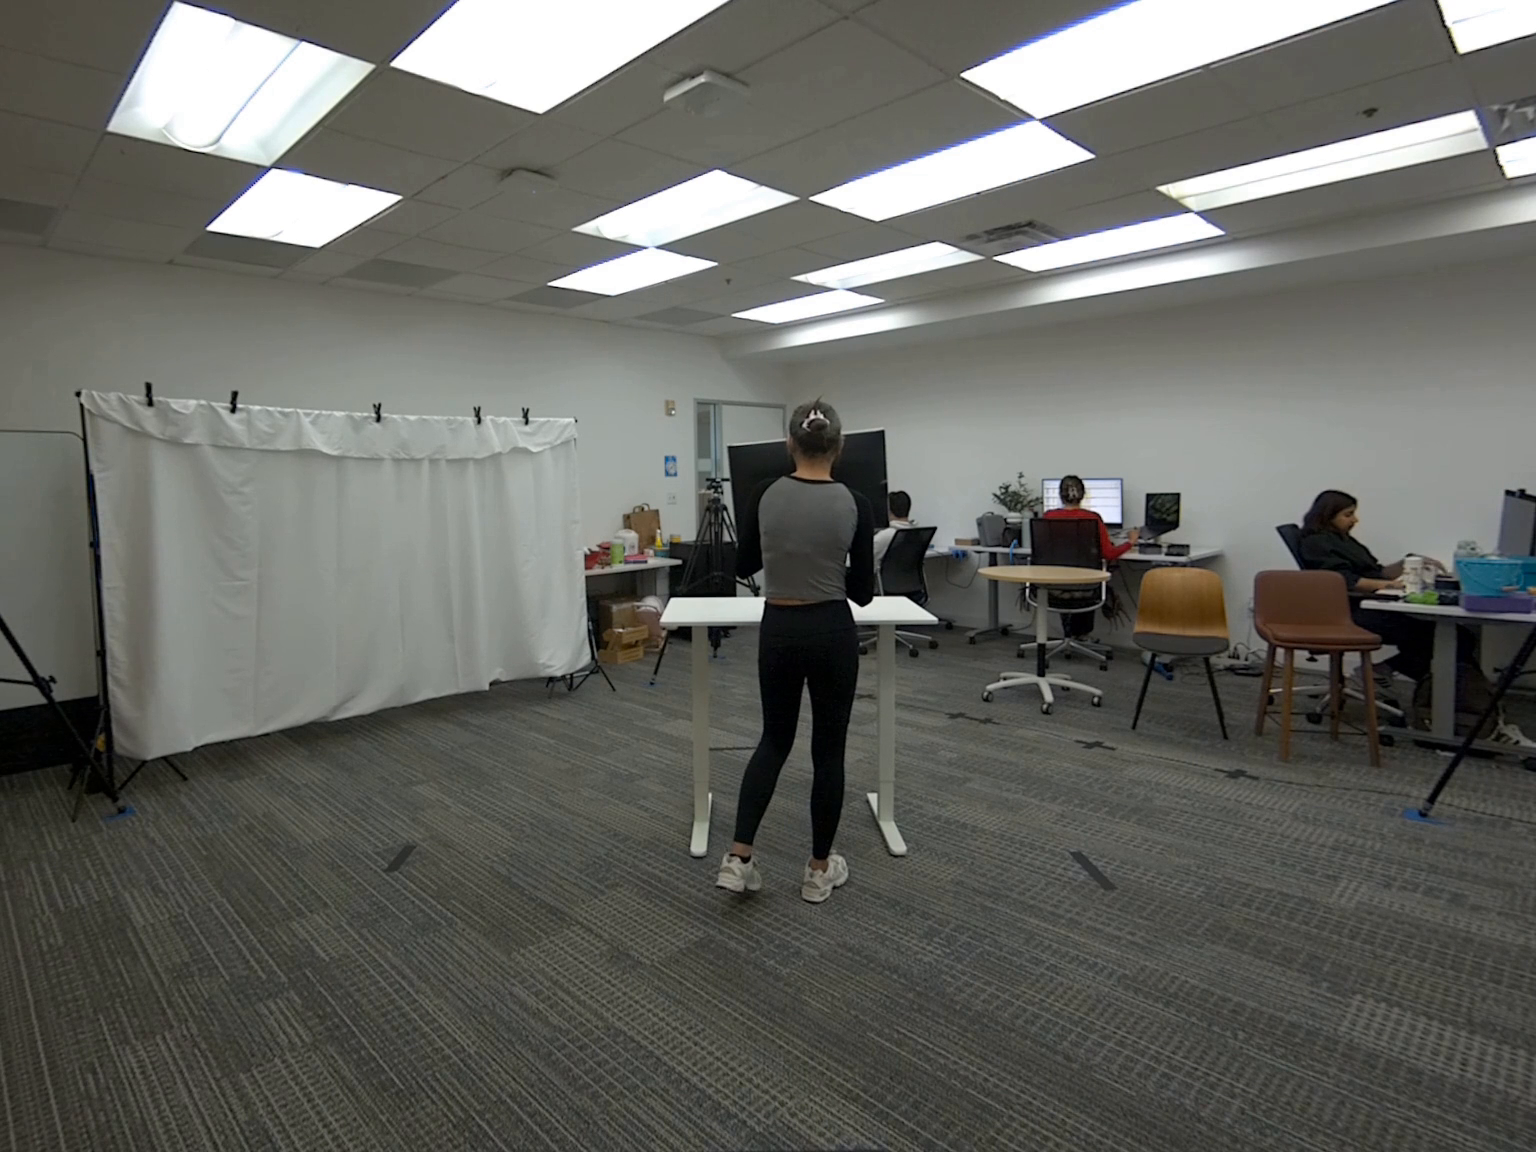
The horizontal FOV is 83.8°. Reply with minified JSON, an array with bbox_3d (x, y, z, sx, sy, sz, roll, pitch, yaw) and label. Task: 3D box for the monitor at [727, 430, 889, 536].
[{"bbox_3d":[0.164,-0.229,3.014,0.539,0.521,0.188,-5,3,-1],"label":"monitor"}]
